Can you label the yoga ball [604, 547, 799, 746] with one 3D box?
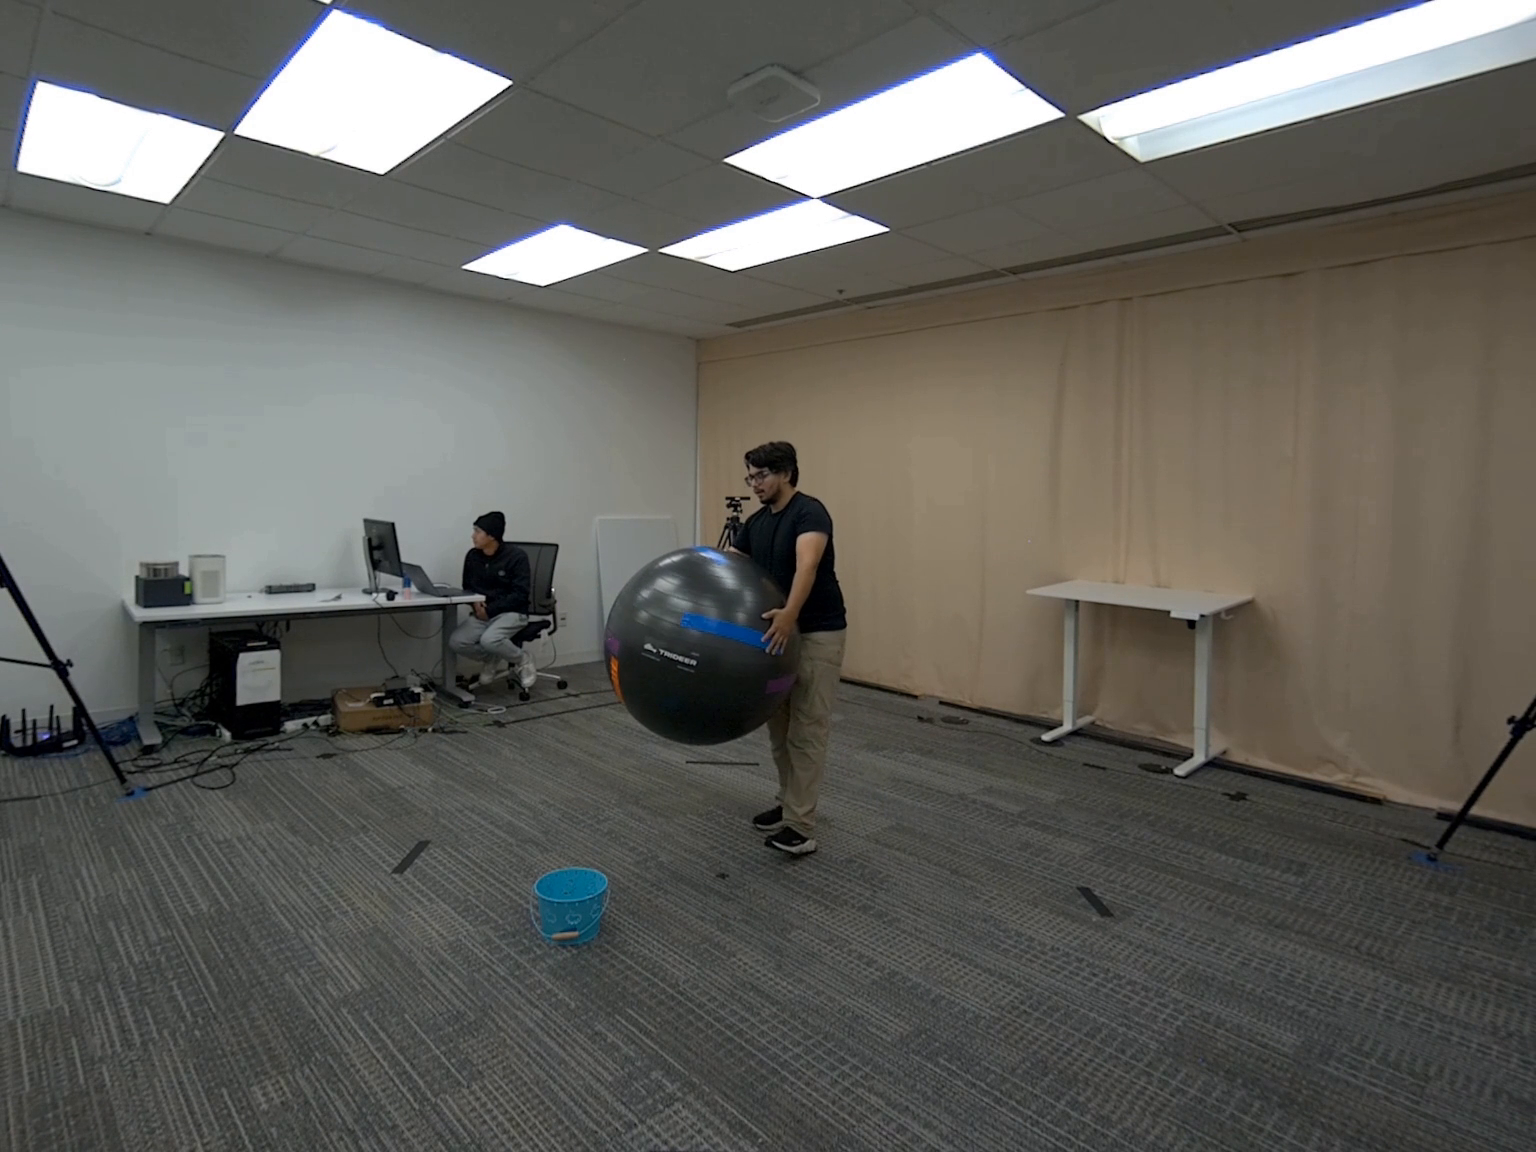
[{"bbox_3d":[-0.261,0.274,3.242,0.757,0.756,0.760,1,4,-1],"label":"yoga ball"}]
